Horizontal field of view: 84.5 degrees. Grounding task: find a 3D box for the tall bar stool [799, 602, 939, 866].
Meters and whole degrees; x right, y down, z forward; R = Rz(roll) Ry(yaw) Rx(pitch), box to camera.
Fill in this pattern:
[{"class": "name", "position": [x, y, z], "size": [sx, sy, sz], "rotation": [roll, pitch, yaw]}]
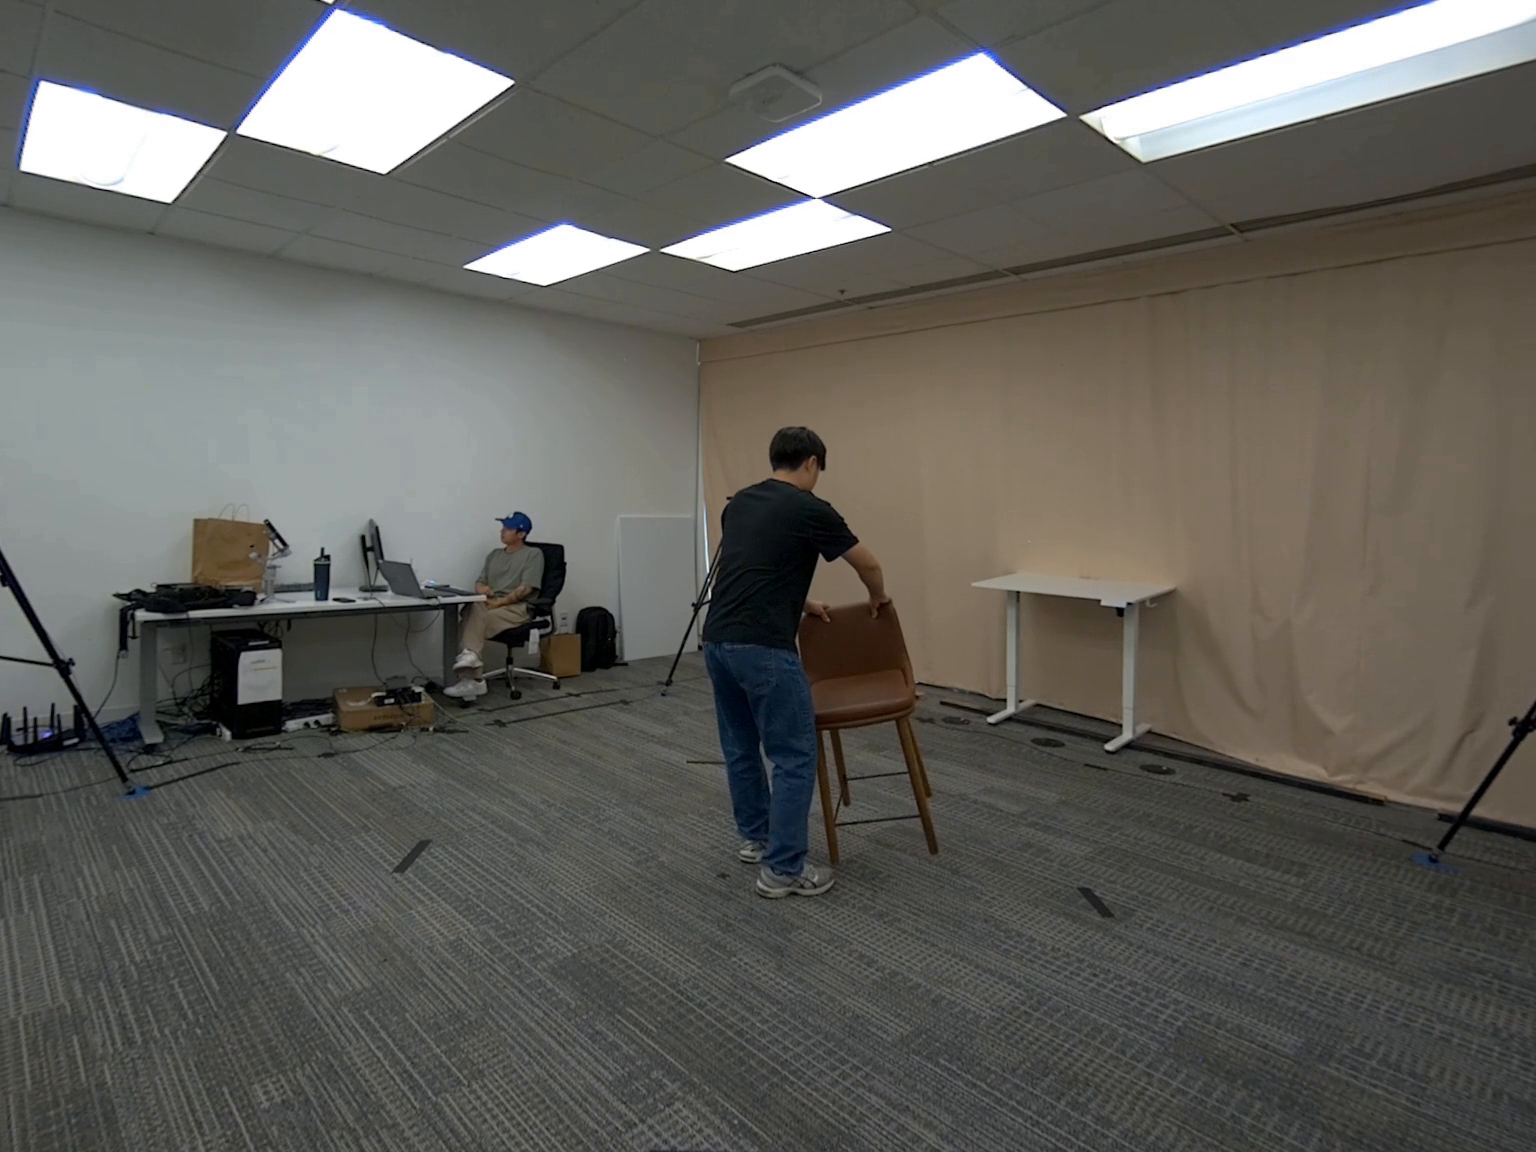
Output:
[{"class": "tall bar stool", "position": [0.382, 0.607, 3.315], "size": [0.460, 0.882, 0.467], "rotation": [-11, 9, 12]}]
